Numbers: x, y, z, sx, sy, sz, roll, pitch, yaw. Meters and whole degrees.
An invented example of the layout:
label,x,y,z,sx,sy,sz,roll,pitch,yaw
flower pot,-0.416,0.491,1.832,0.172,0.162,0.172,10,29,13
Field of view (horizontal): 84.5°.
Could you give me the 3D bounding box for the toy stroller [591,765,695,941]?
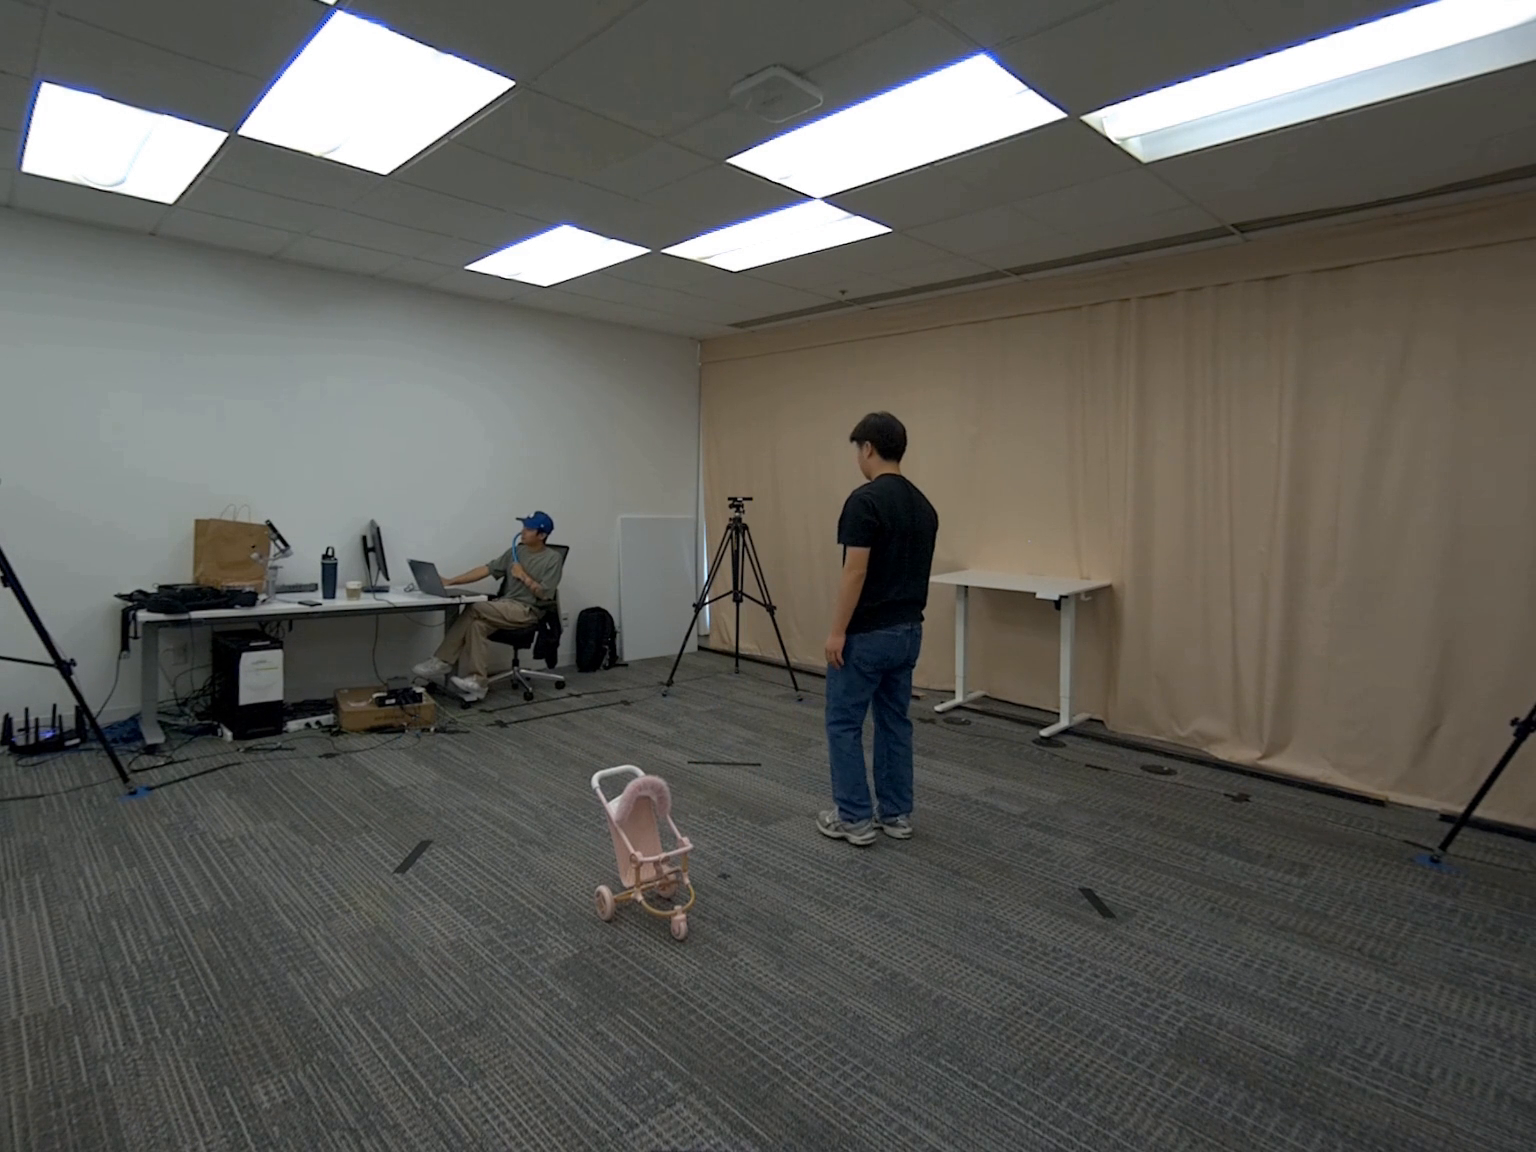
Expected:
label,x,y,z,sx,sy,sz,roll,pitch,yaw
toy stroller,-0.409,0.905,2.783,0.275,0.539,0.346,-1,-11,-37
